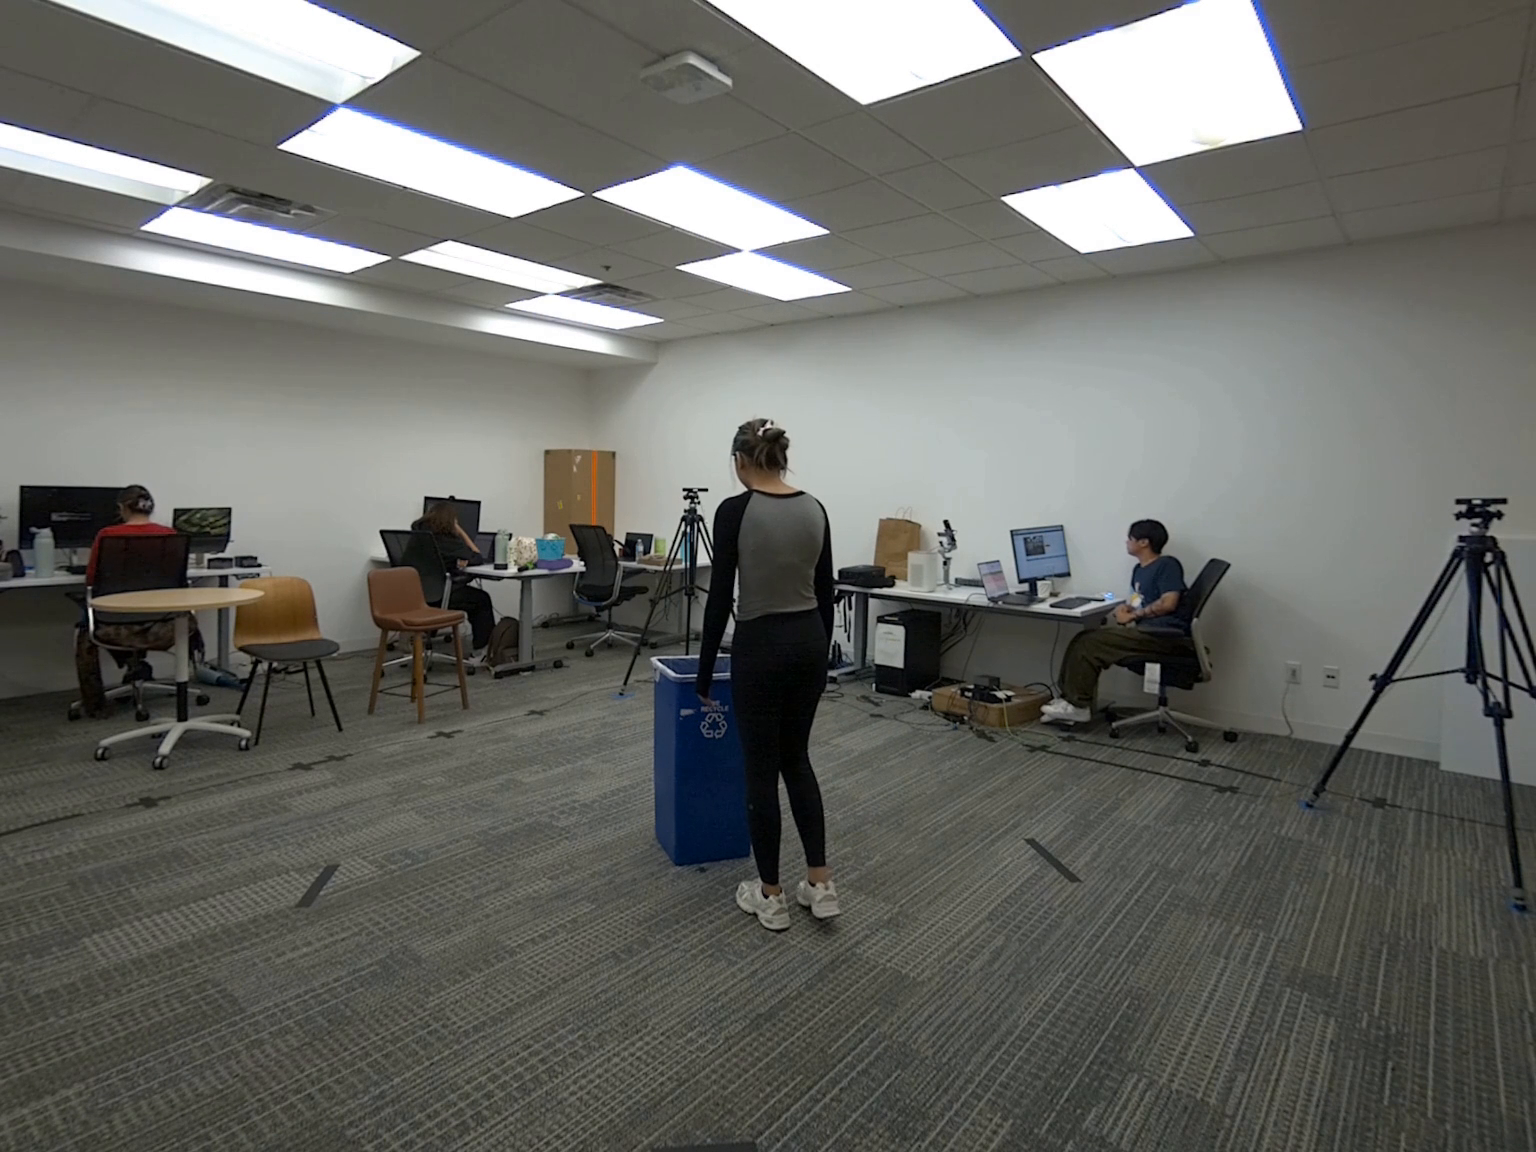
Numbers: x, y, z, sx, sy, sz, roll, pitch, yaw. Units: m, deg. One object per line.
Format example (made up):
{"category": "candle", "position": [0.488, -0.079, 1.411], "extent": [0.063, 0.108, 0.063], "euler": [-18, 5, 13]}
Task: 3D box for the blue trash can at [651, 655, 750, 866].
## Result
{"category": "blue trash can", "position": [-0.258, 0.692, 3.302], "extent": [0.366, 0.711, 0.387], "euler": [0, 4, -21]}
